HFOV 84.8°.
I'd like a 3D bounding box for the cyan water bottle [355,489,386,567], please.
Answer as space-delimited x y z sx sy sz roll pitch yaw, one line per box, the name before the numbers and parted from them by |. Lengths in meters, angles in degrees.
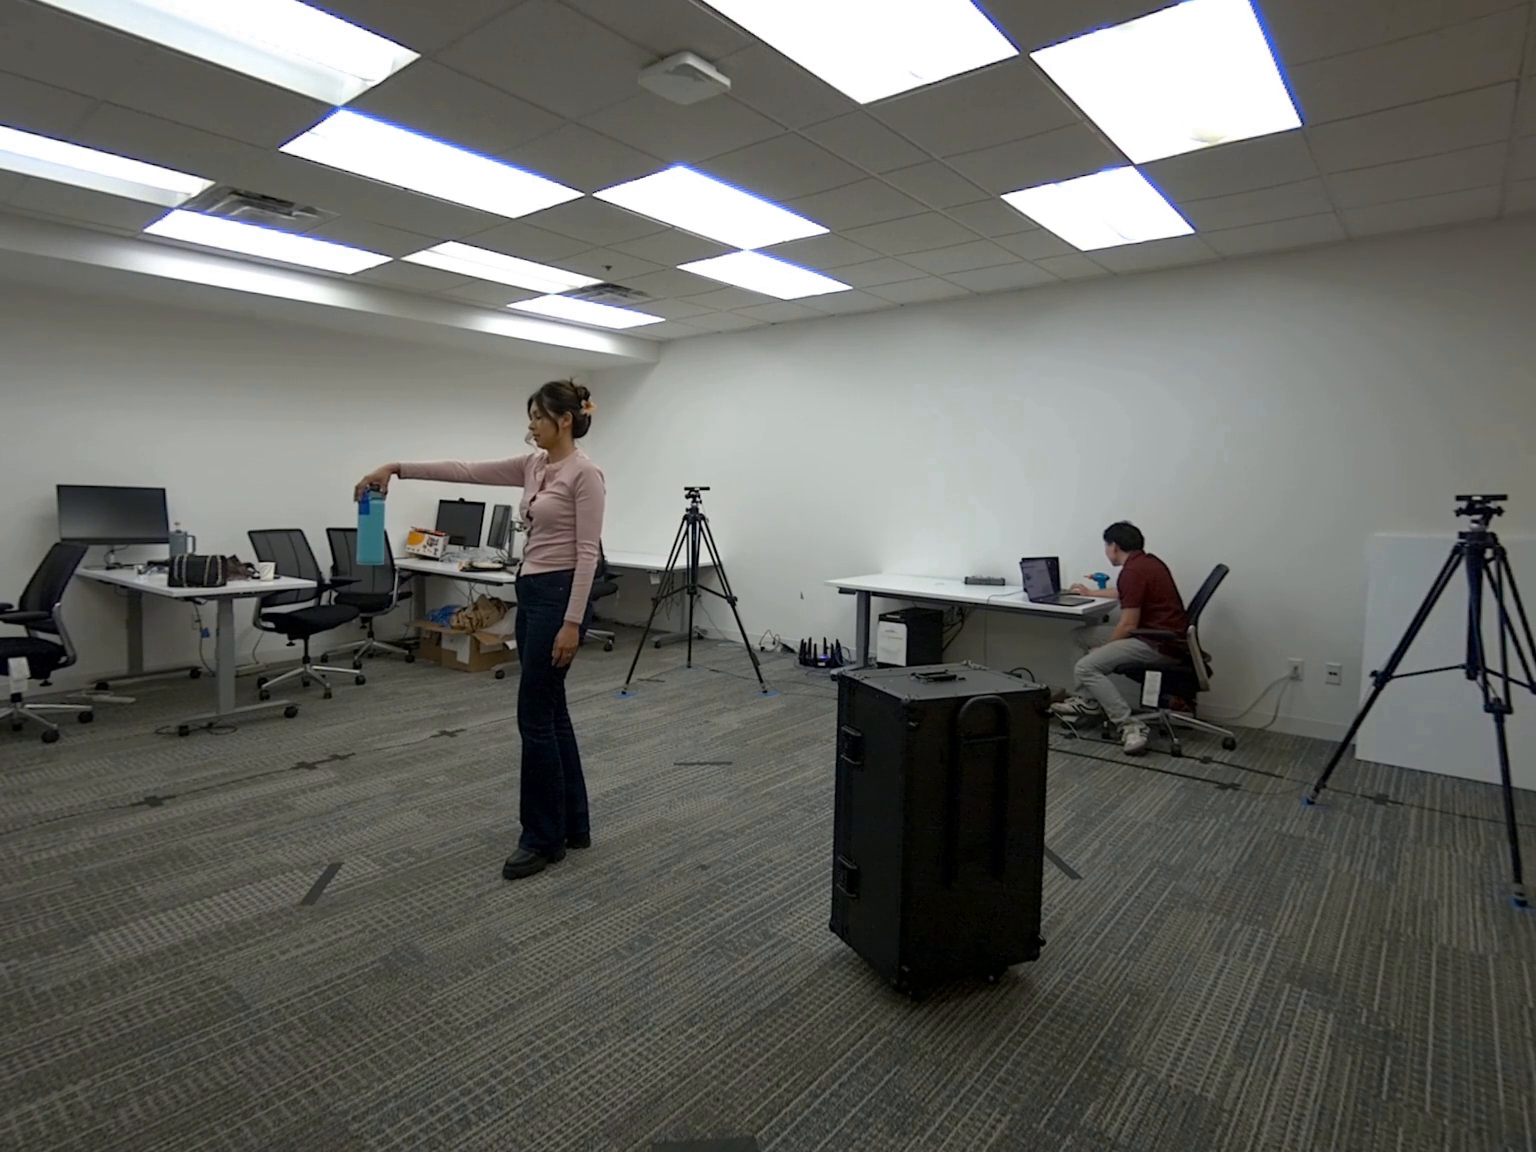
cyan water bottle | -1.408 -0.183 2.985 0.092 0.283 0.092 1 2 -2
